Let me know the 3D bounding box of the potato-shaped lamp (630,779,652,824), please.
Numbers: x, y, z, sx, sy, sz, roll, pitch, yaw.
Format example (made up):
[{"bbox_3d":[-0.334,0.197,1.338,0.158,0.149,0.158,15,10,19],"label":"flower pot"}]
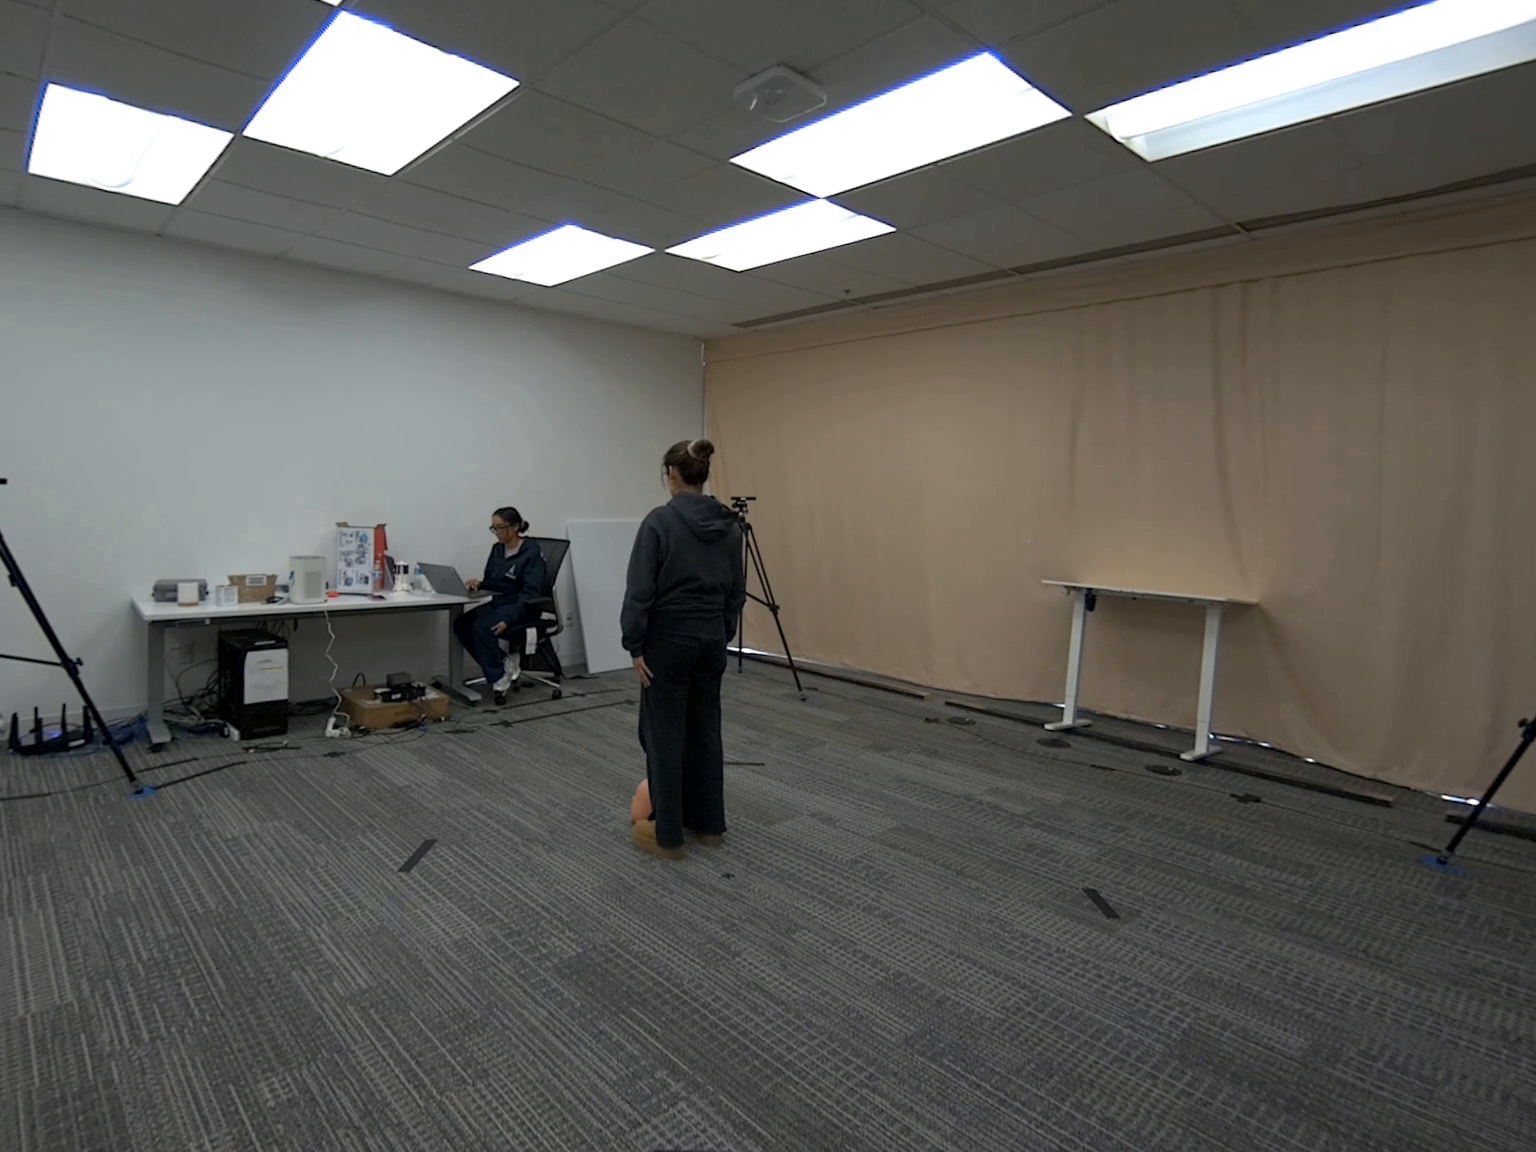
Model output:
[{"bbox_3d":[-0.508,0.954,3.583,0.176,0.197,0.161,10,9,44],"label":"potato-shaped lamp"}]
